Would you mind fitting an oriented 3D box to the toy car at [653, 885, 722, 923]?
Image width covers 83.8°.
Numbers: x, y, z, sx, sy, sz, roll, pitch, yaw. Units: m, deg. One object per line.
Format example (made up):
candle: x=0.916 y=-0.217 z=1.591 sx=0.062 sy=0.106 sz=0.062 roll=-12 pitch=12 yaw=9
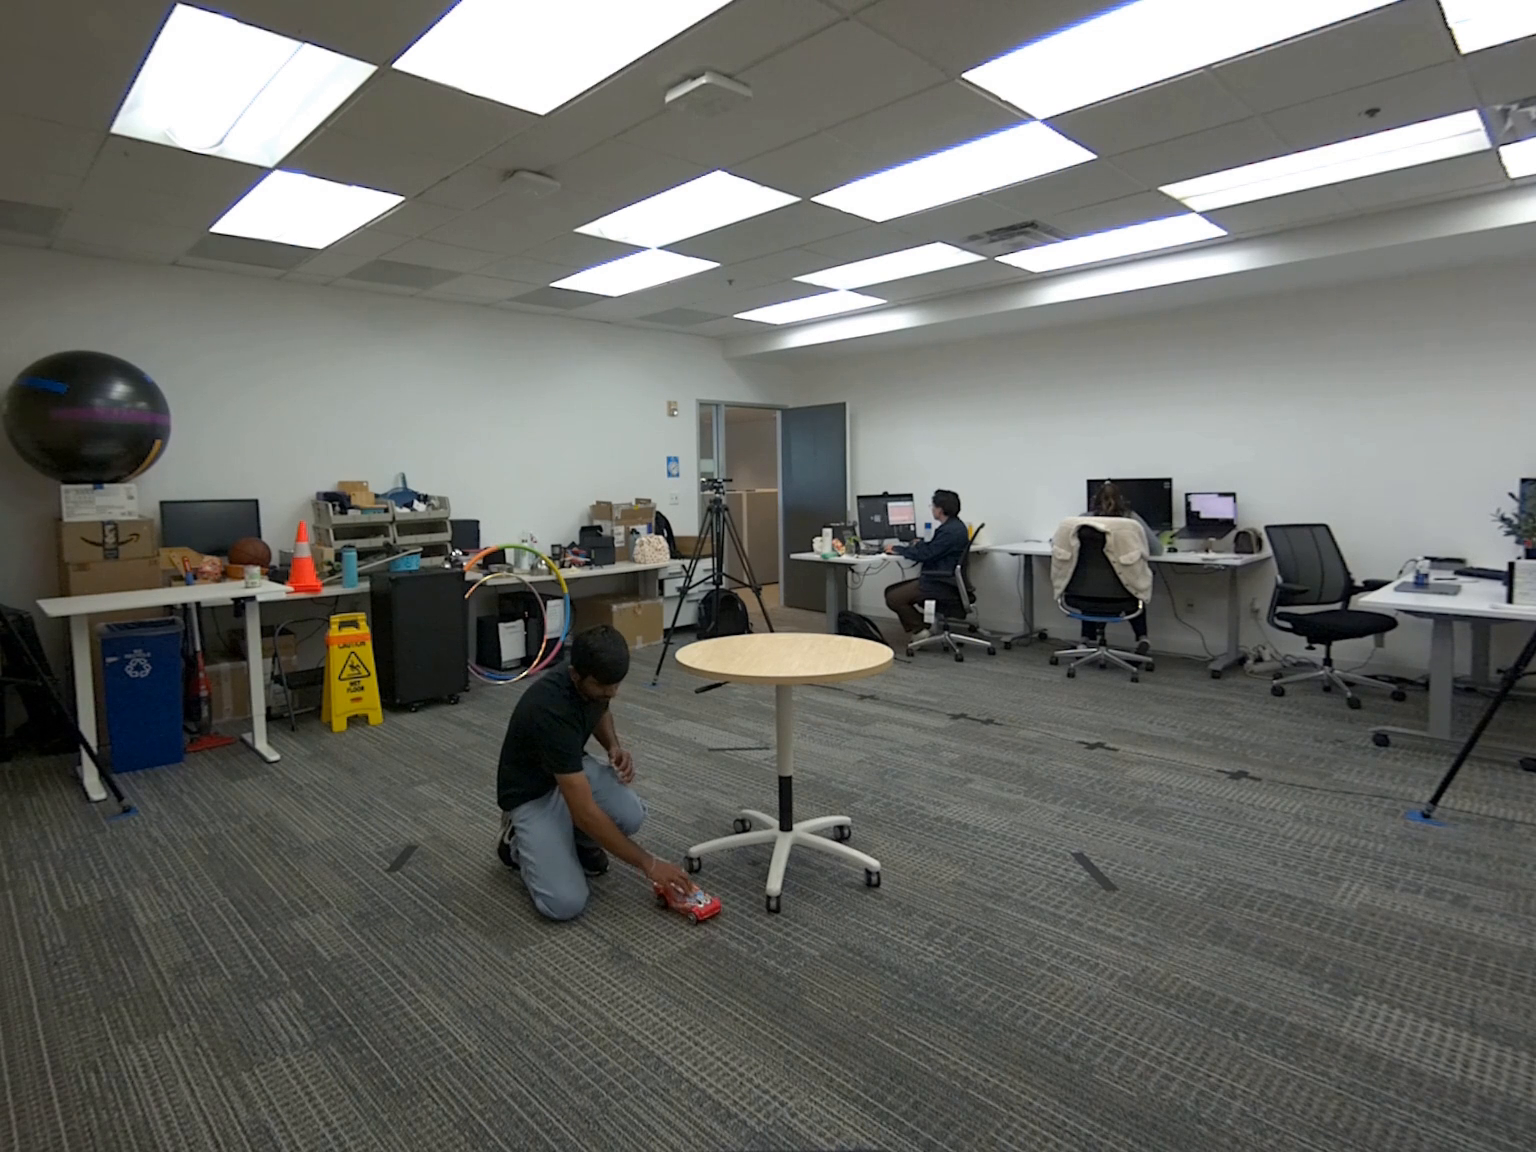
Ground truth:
toy car: x=-0.264 y=1.051 z=2.787 sx=0.127 sy=0.082 sz=0.264 roll=-9 pitch=20 yaw=-44
